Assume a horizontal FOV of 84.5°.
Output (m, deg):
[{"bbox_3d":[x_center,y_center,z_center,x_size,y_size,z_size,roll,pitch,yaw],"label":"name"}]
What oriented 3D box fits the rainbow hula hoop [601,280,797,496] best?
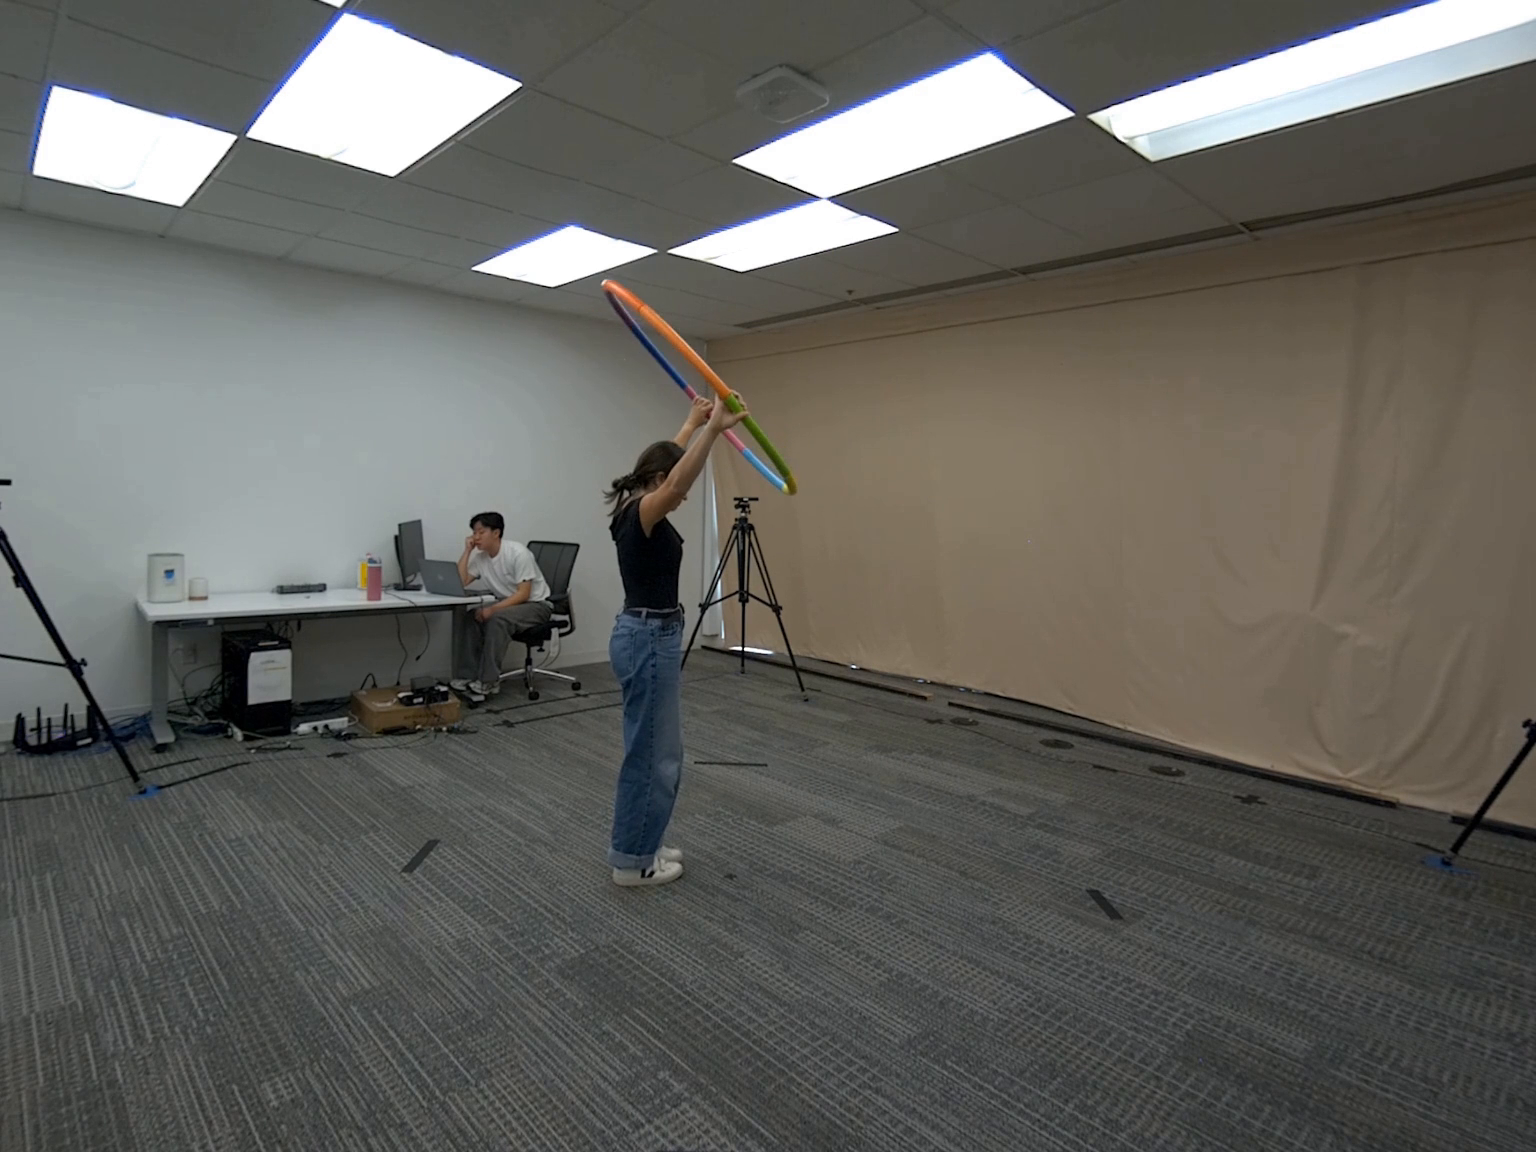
[{"bbox_3d":[-0.232,-0.632,2.939,0.977,0.035,0.980,46,0,-2],"label":"rainbow hula hoop"}]
